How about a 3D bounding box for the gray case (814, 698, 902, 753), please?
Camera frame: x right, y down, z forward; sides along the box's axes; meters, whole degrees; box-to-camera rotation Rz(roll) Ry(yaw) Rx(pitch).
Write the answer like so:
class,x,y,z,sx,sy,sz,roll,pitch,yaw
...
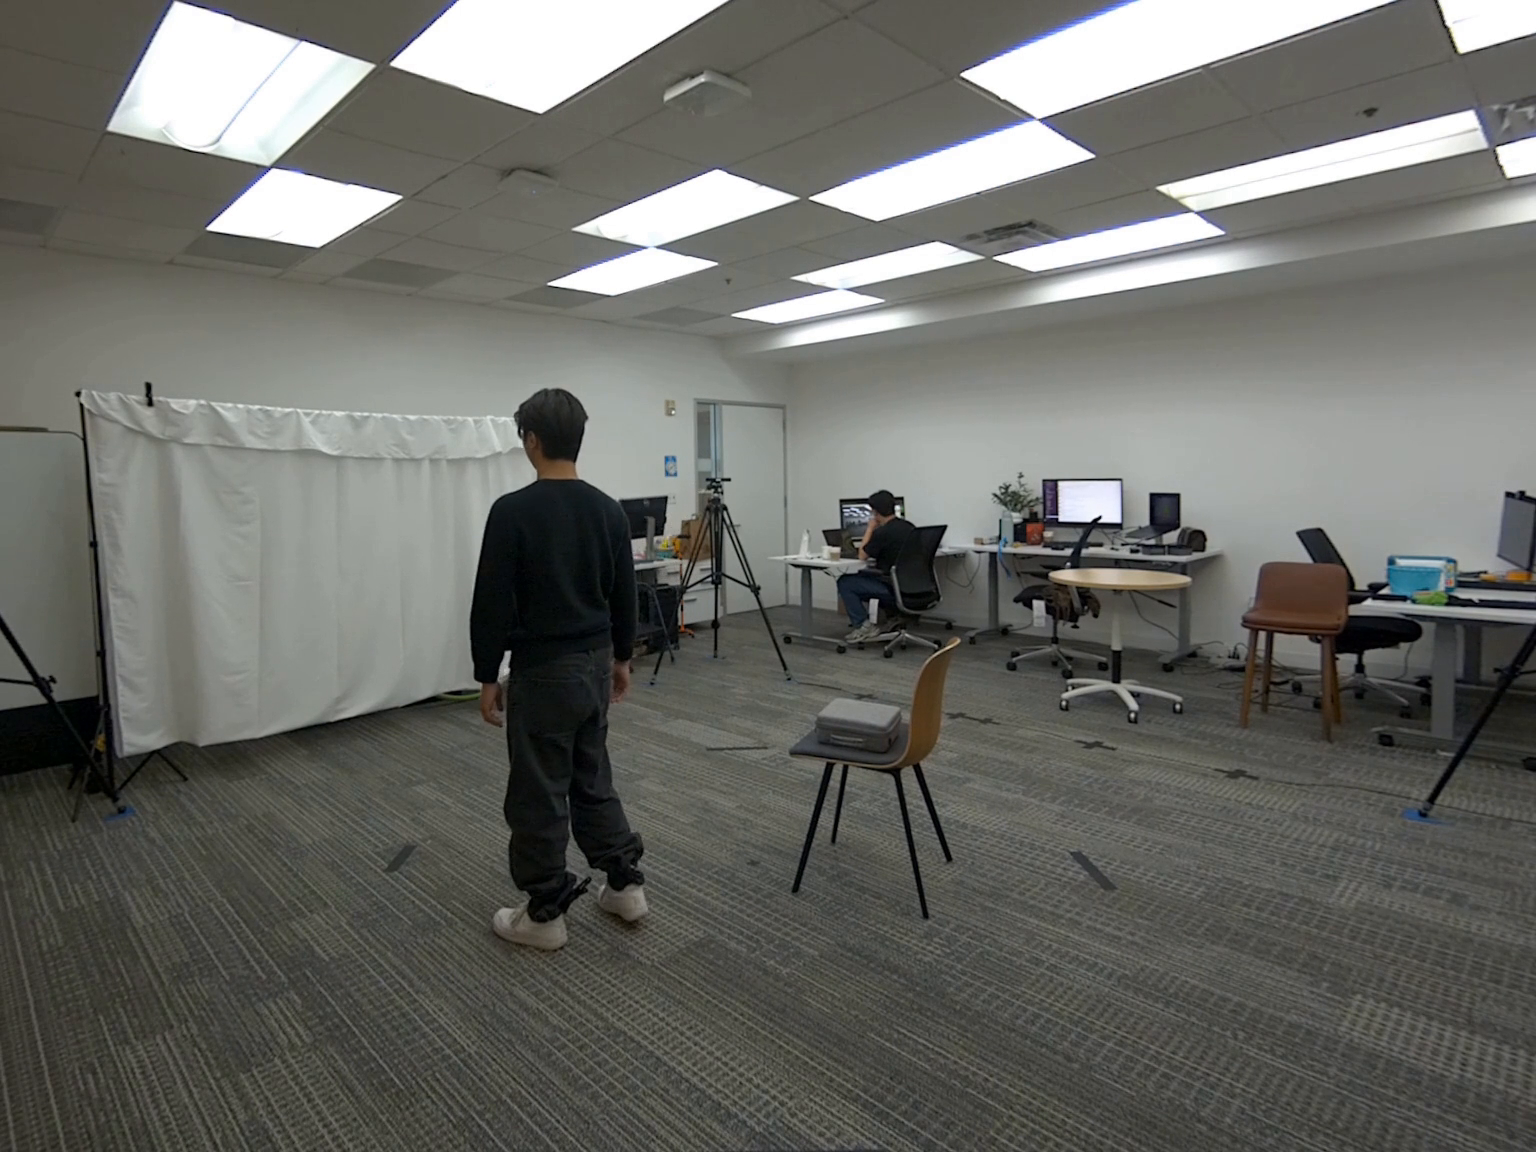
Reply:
class,x,y,z,sx,sy,sz,roll,pitch,yaw
gray case,0.313,0.514,2.980,0.263,0.103,0.256,6,9,22
